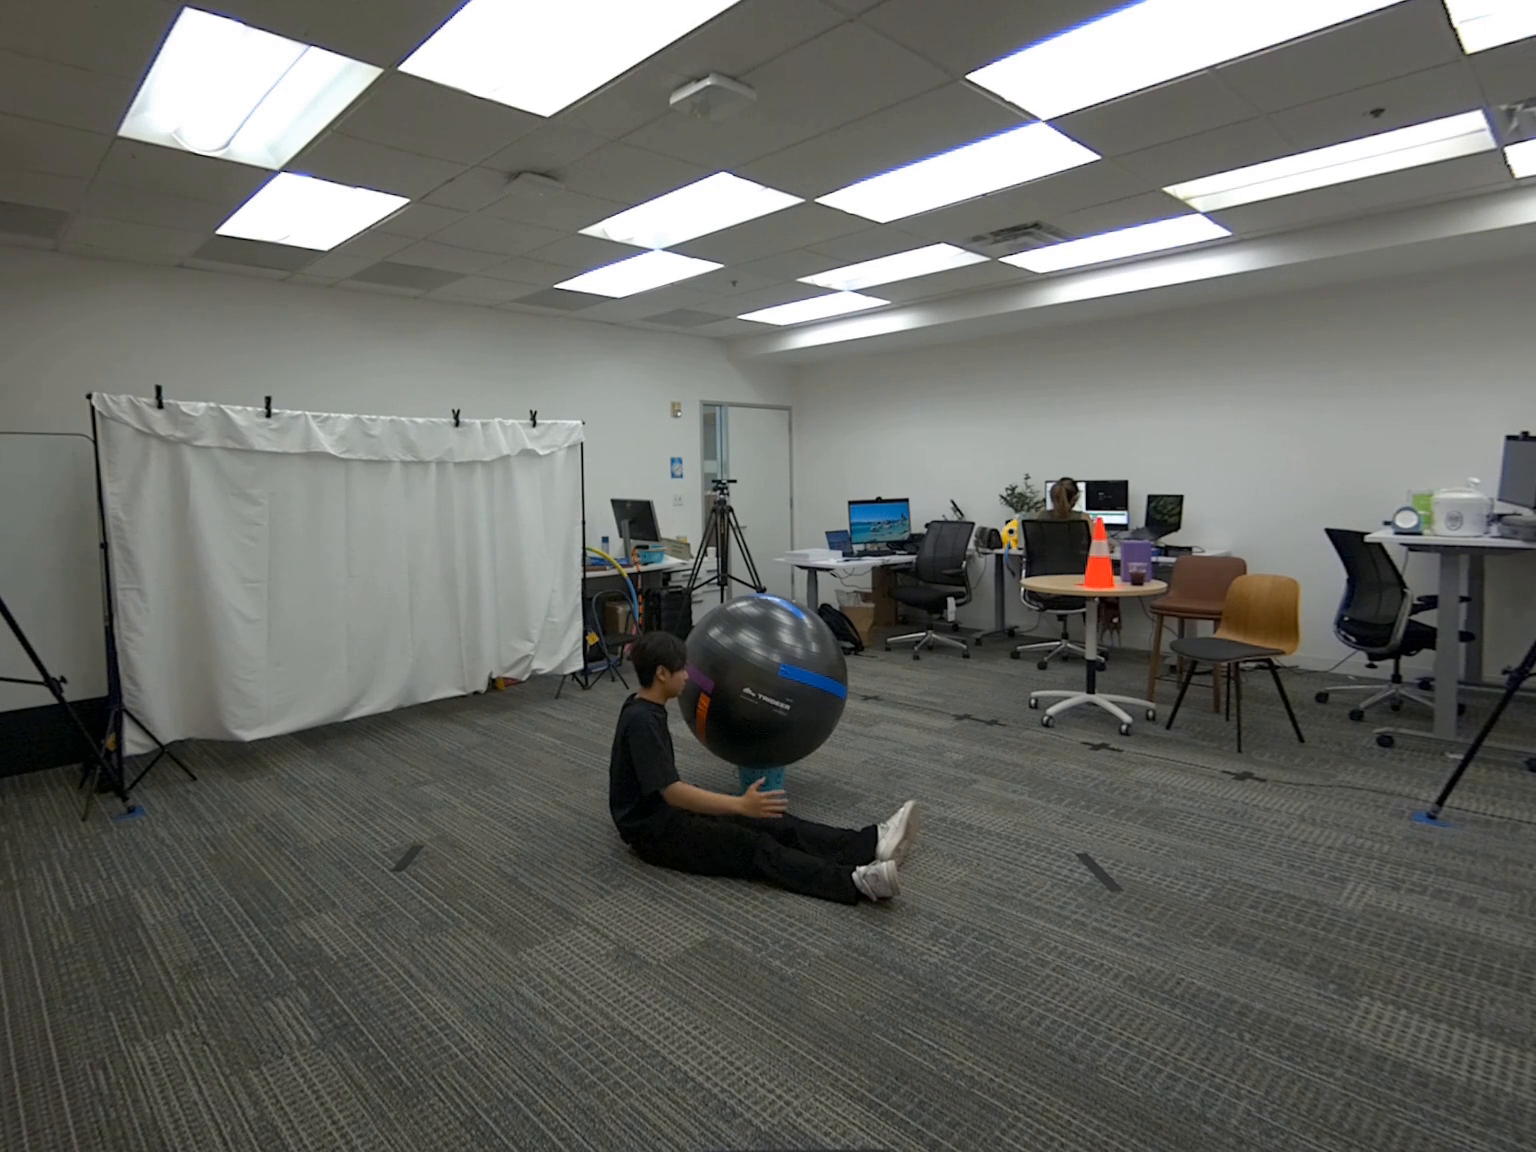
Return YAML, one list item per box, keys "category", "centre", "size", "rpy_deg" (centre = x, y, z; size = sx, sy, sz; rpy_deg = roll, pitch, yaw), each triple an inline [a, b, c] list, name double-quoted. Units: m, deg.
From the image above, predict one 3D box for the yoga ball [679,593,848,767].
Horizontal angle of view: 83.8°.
- category: "yoga ball"
  centre: [-0.023, 0.466, 3.780]
  size: [0.757, 0.755, 0.762]
  rpy_deg: [-1, 5, -2]
